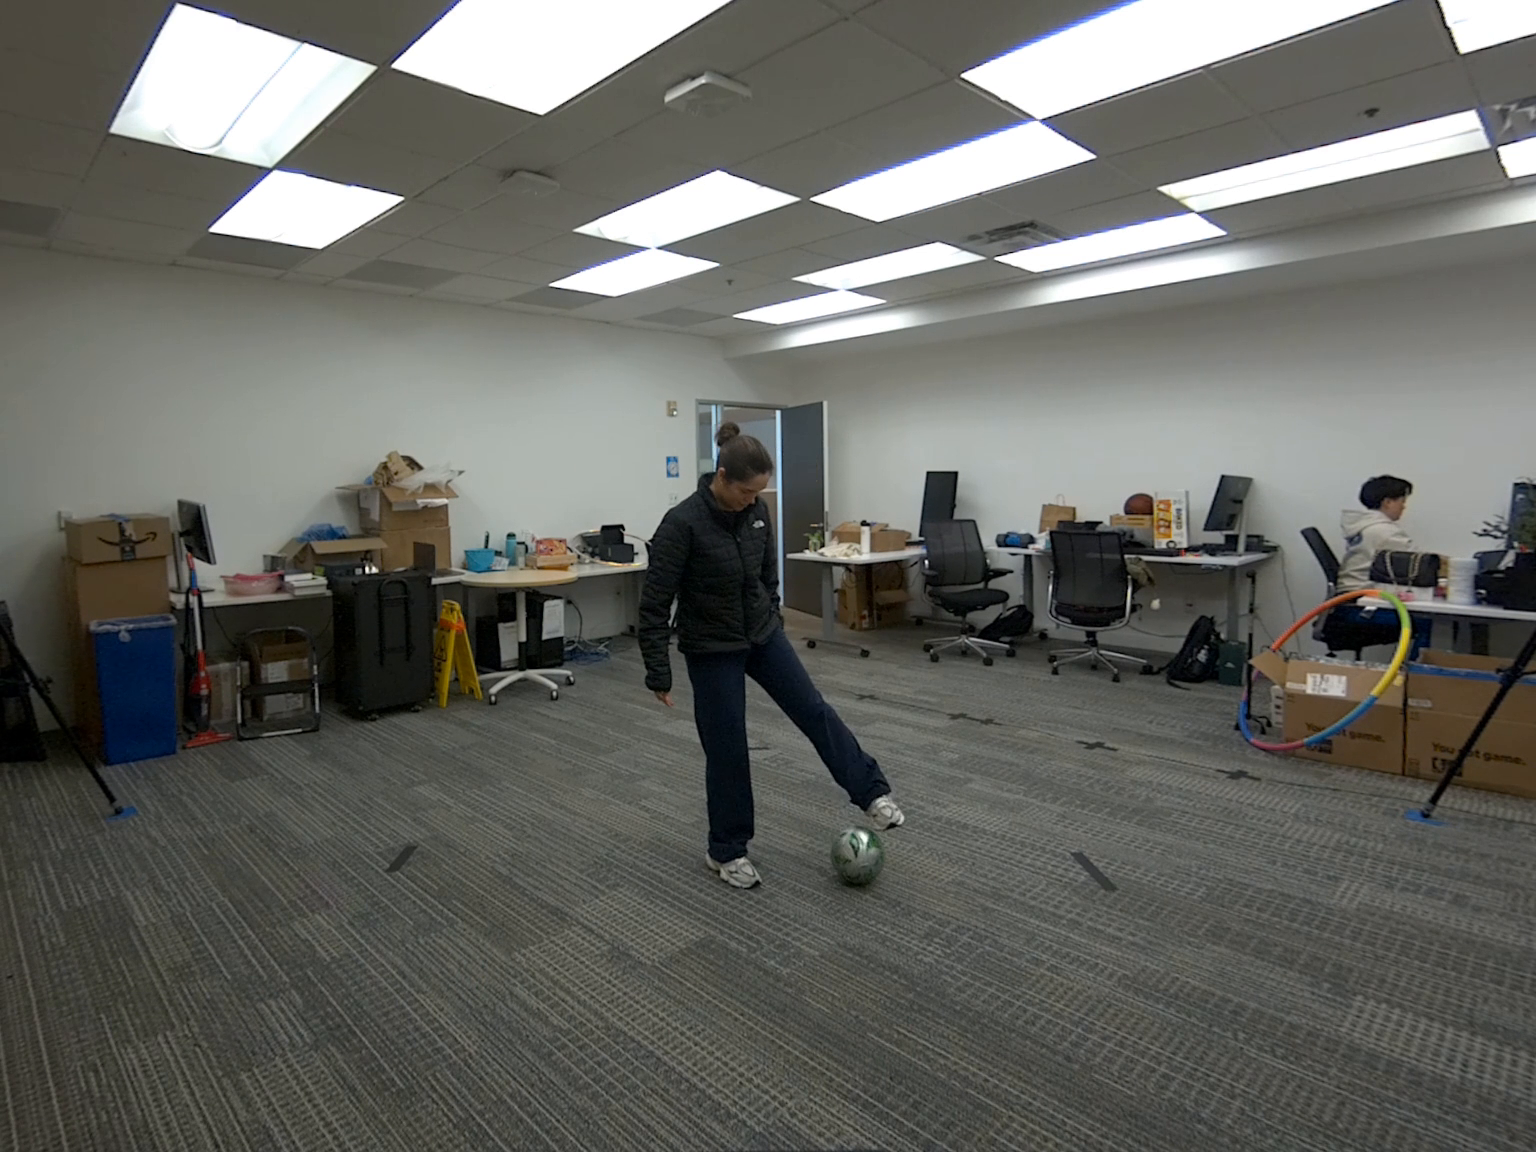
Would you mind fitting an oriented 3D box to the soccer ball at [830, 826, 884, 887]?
[{"bbox_3d":[0.299,0.963,2.947,0.187,0.187,0.188,-1,5,-2],"label":"soccer ball"}]
